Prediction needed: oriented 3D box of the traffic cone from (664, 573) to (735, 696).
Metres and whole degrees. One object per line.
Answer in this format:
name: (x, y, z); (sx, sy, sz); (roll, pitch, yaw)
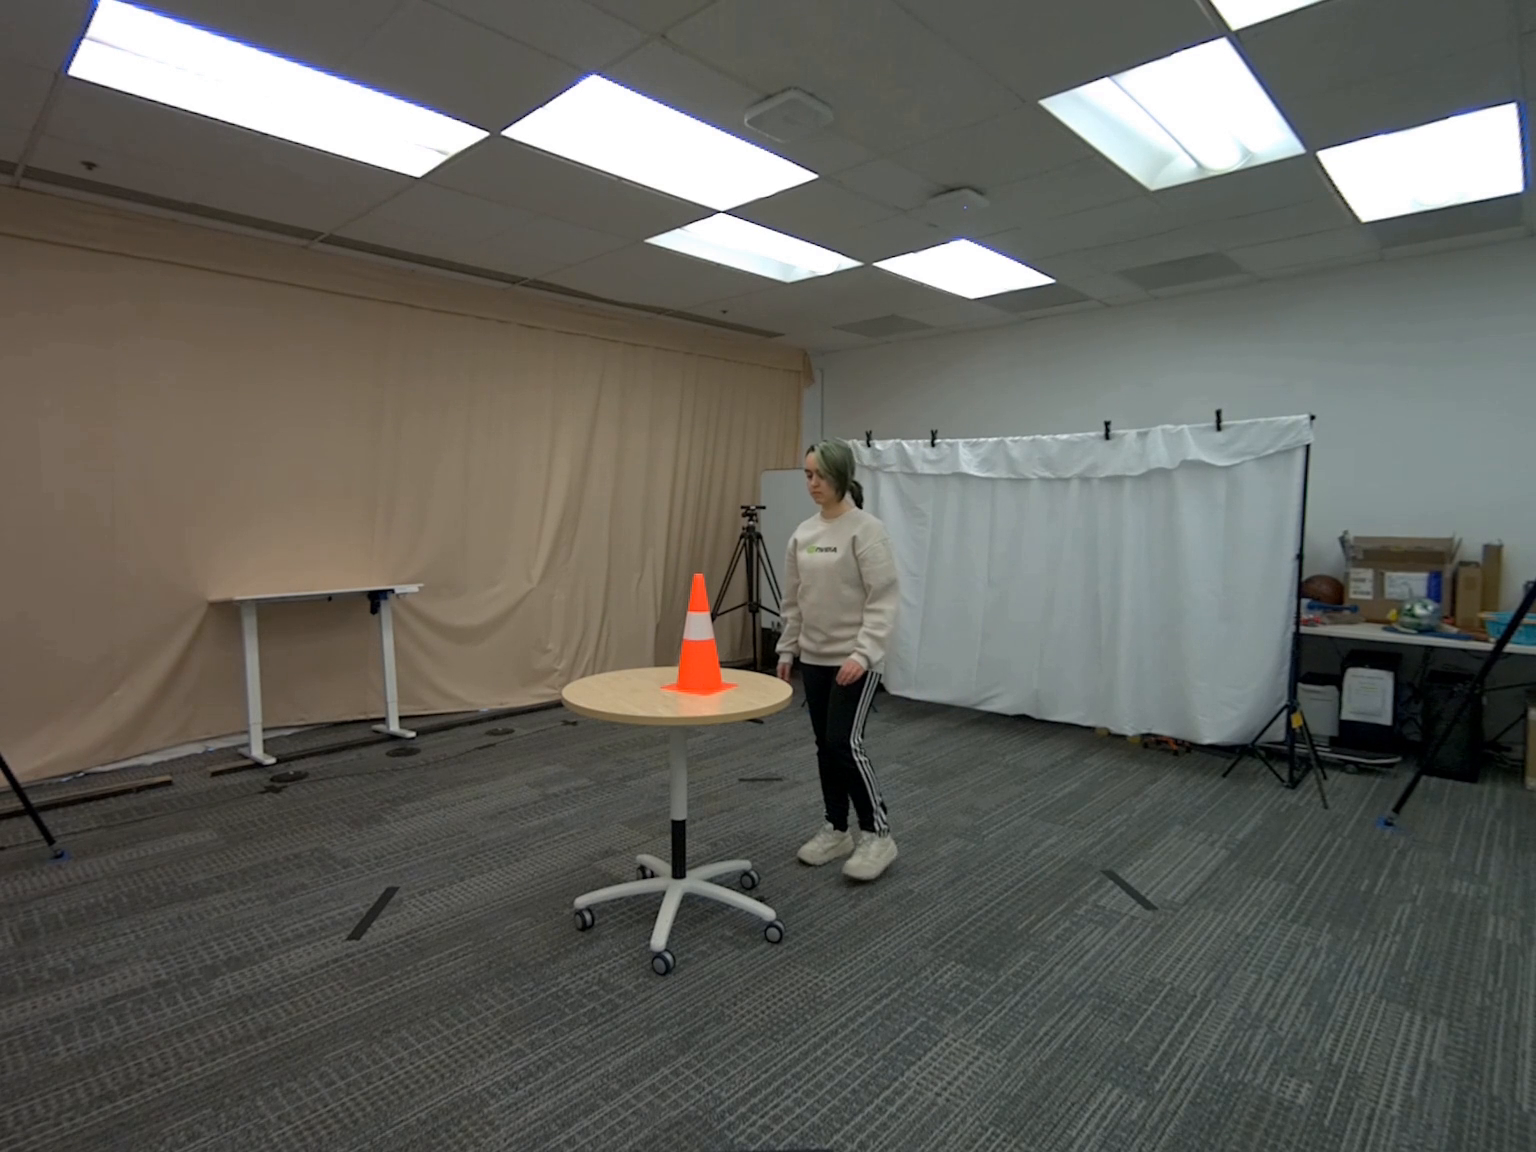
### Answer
traffic cone: (-0.231, 0.189, 2.831); (0.211, 0.383, 0.197); (0, 2, 37)
